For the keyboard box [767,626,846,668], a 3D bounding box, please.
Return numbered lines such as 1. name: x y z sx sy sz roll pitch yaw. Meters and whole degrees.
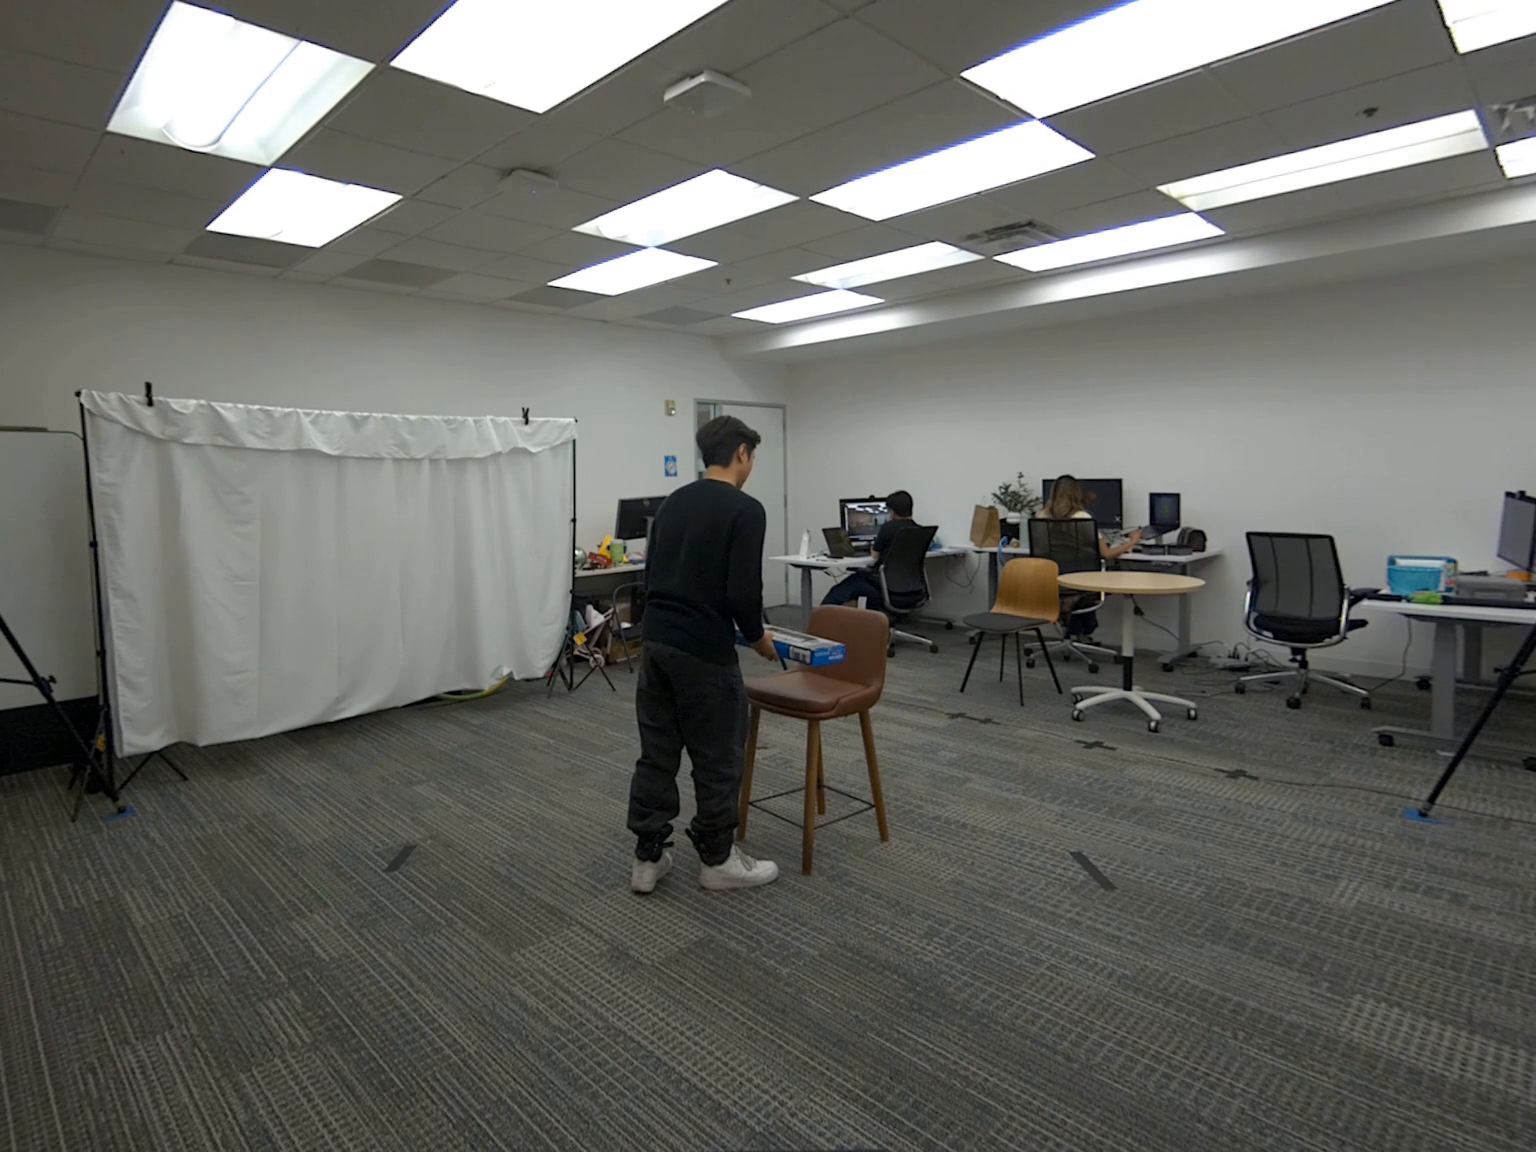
1. keyboard box: 0.053 0.240 3.076 0.171 0.059 0.452 -4 11 -44
